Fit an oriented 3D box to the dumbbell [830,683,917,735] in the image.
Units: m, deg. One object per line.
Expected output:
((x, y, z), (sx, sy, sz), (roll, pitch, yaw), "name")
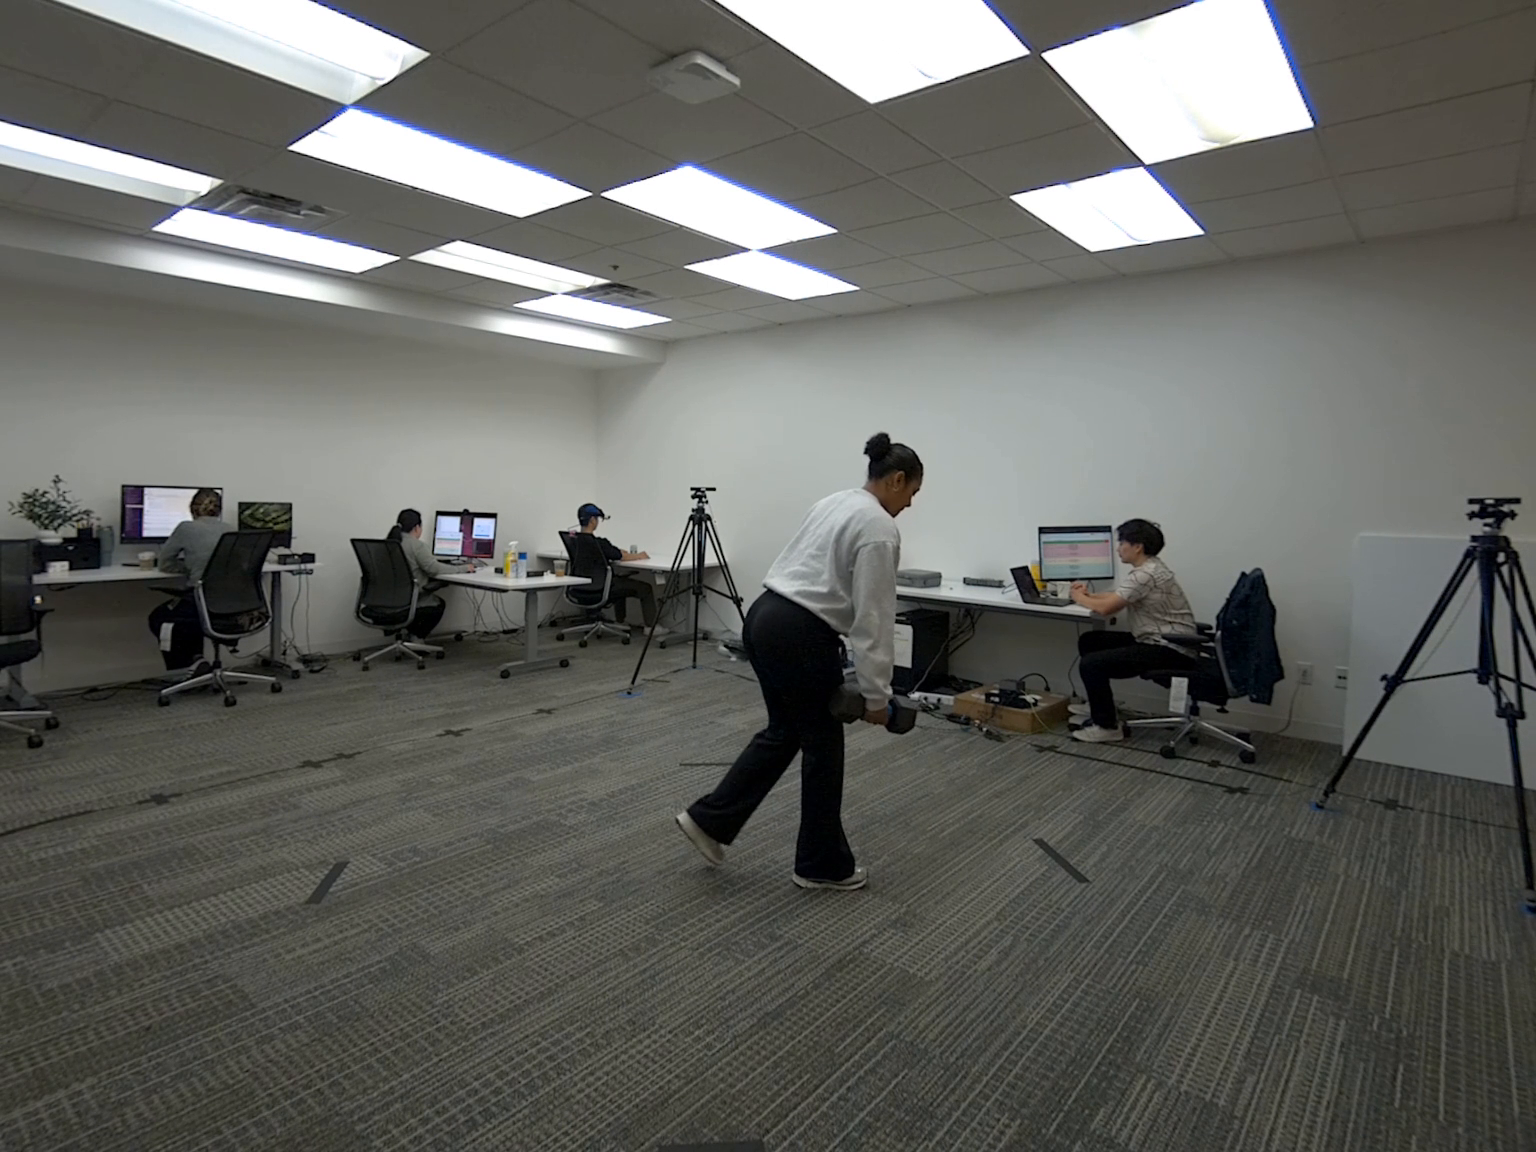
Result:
((0.342, 0.446, 2.834), (0.287, 0.124, 0.110), (13, -10, -20), "dumbbell")
